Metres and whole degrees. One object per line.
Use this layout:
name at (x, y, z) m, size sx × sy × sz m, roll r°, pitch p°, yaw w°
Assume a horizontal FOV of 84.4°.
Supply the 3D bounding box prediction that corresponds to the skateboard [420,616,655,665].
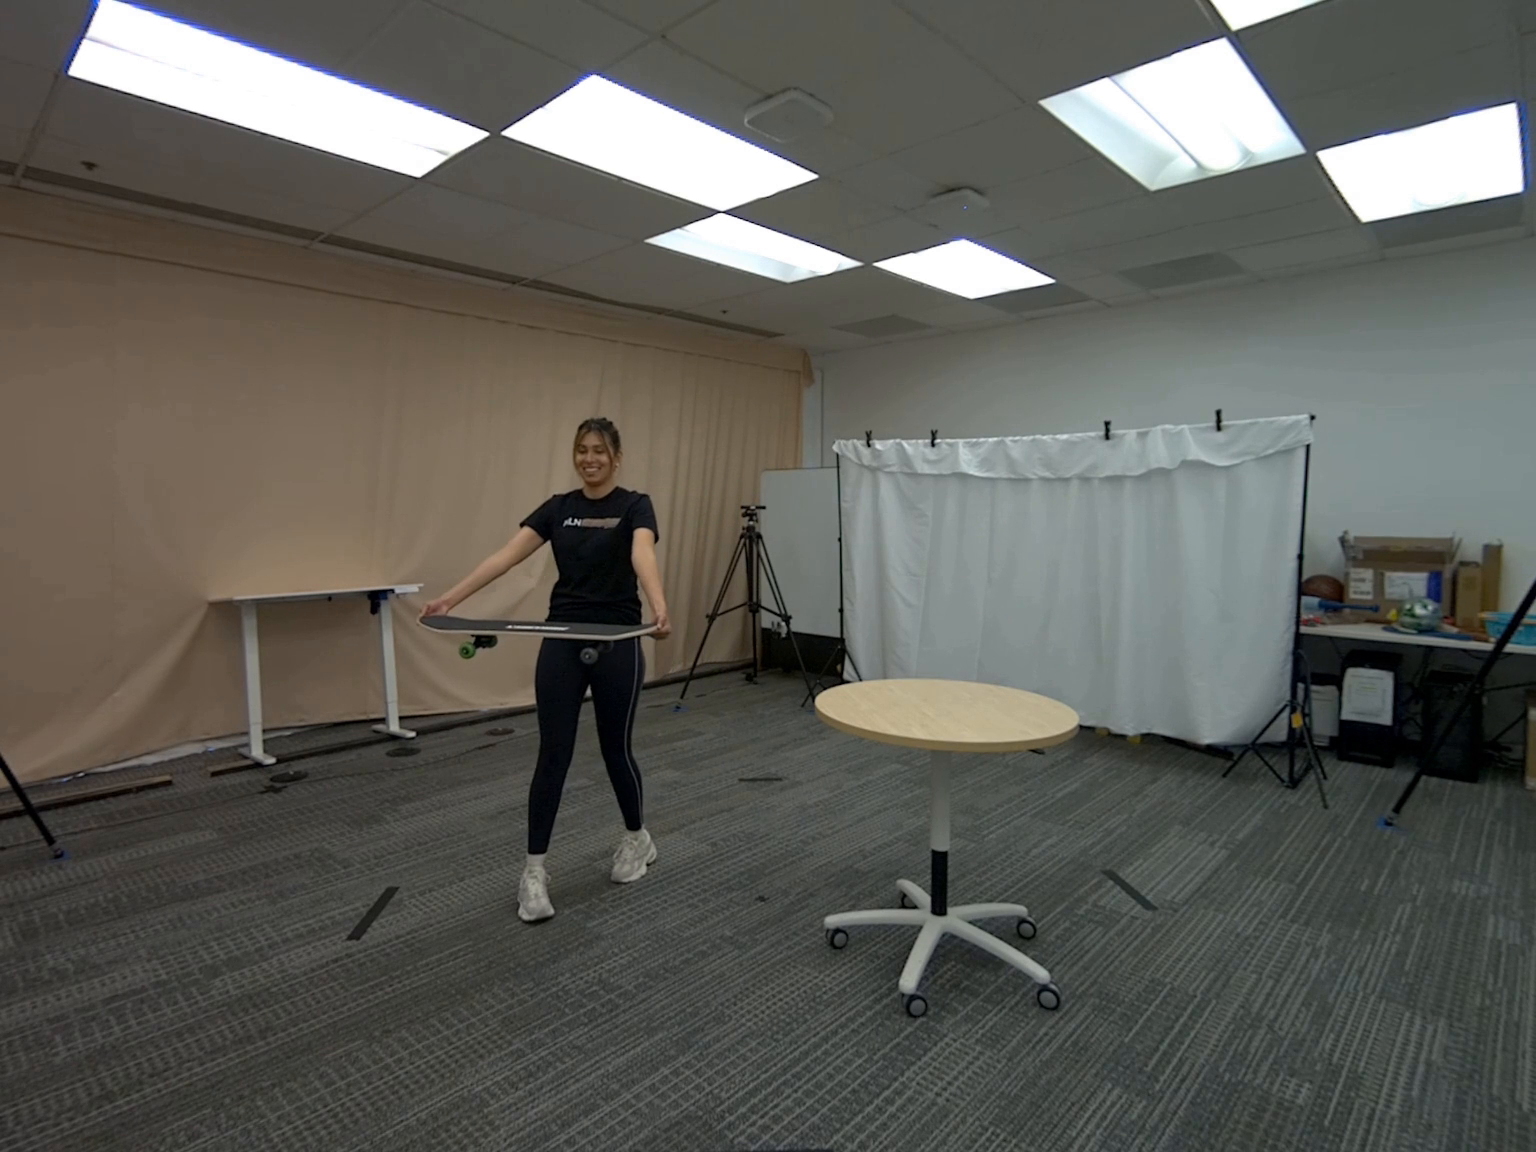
skateboard at (-0.724, 0.196, 2.653) m, size 0.795 × 0.110 × 0.192 m, roll 1°, pitch 7°, yaw 11°
